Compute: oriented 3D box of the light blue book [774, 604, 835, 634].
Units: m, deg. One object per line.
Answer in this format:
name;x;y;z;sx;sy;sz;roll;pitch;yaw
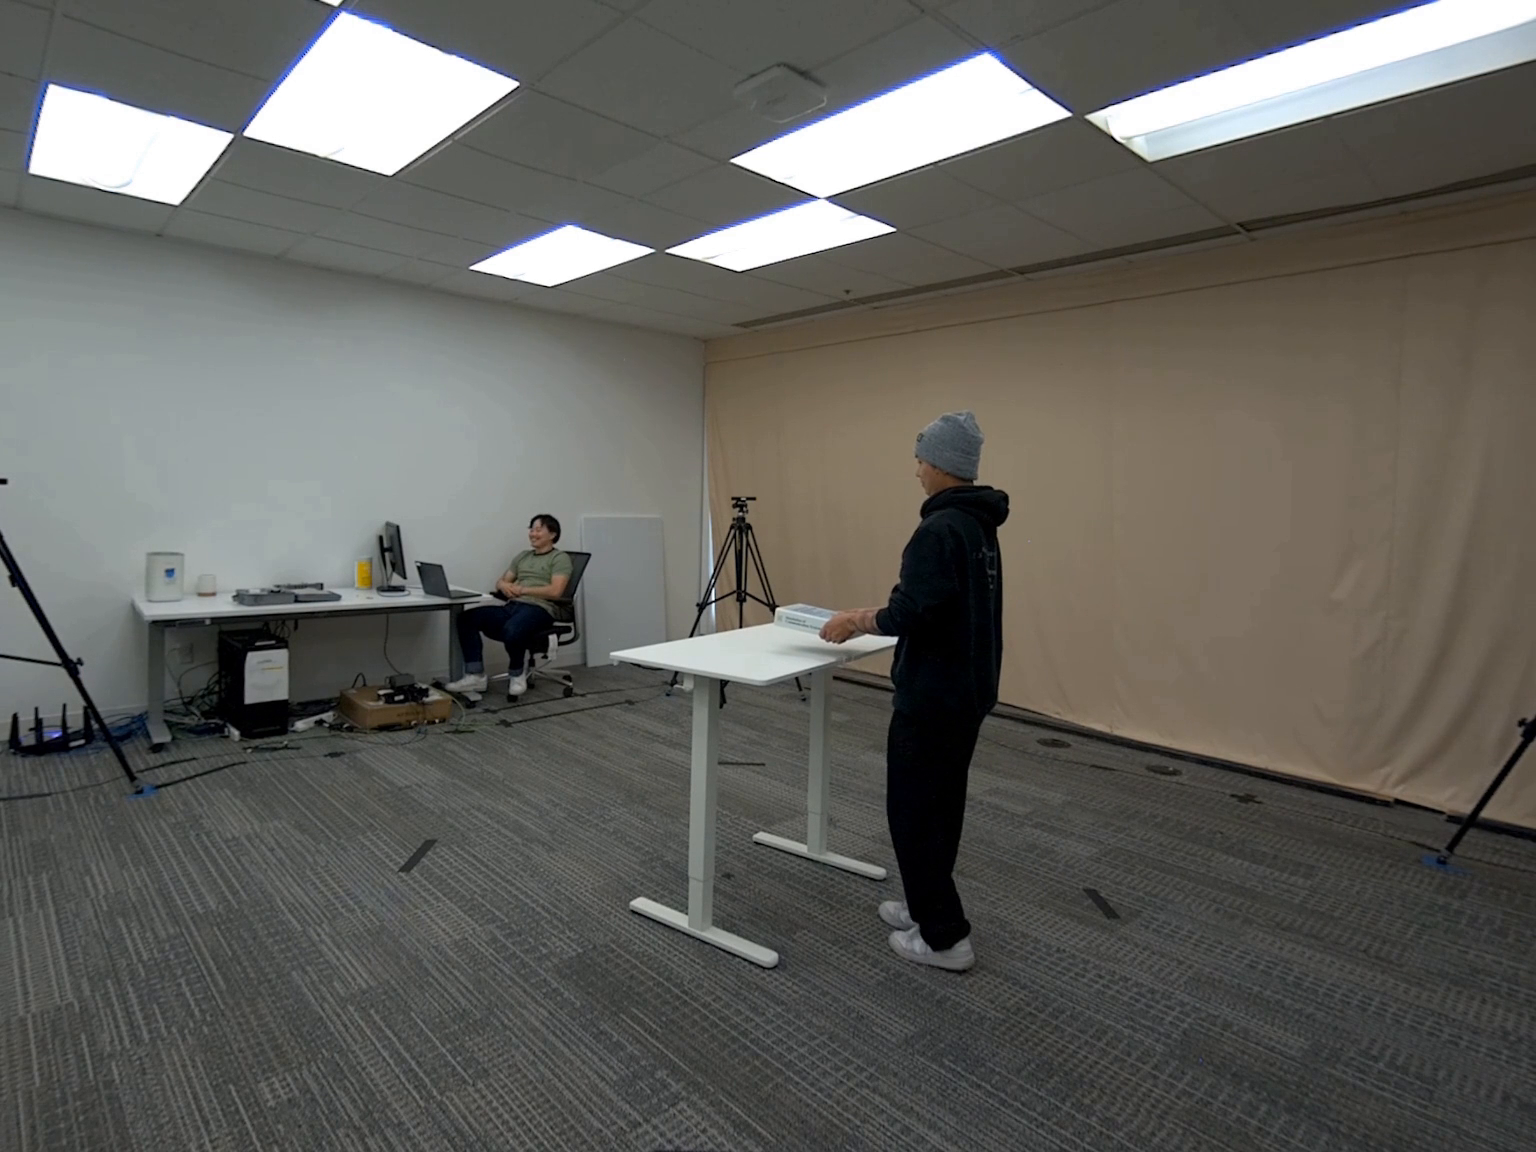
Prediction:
light blue book;0.187;0.158;2.866;0.266;0.059;0.188;12;10;24
